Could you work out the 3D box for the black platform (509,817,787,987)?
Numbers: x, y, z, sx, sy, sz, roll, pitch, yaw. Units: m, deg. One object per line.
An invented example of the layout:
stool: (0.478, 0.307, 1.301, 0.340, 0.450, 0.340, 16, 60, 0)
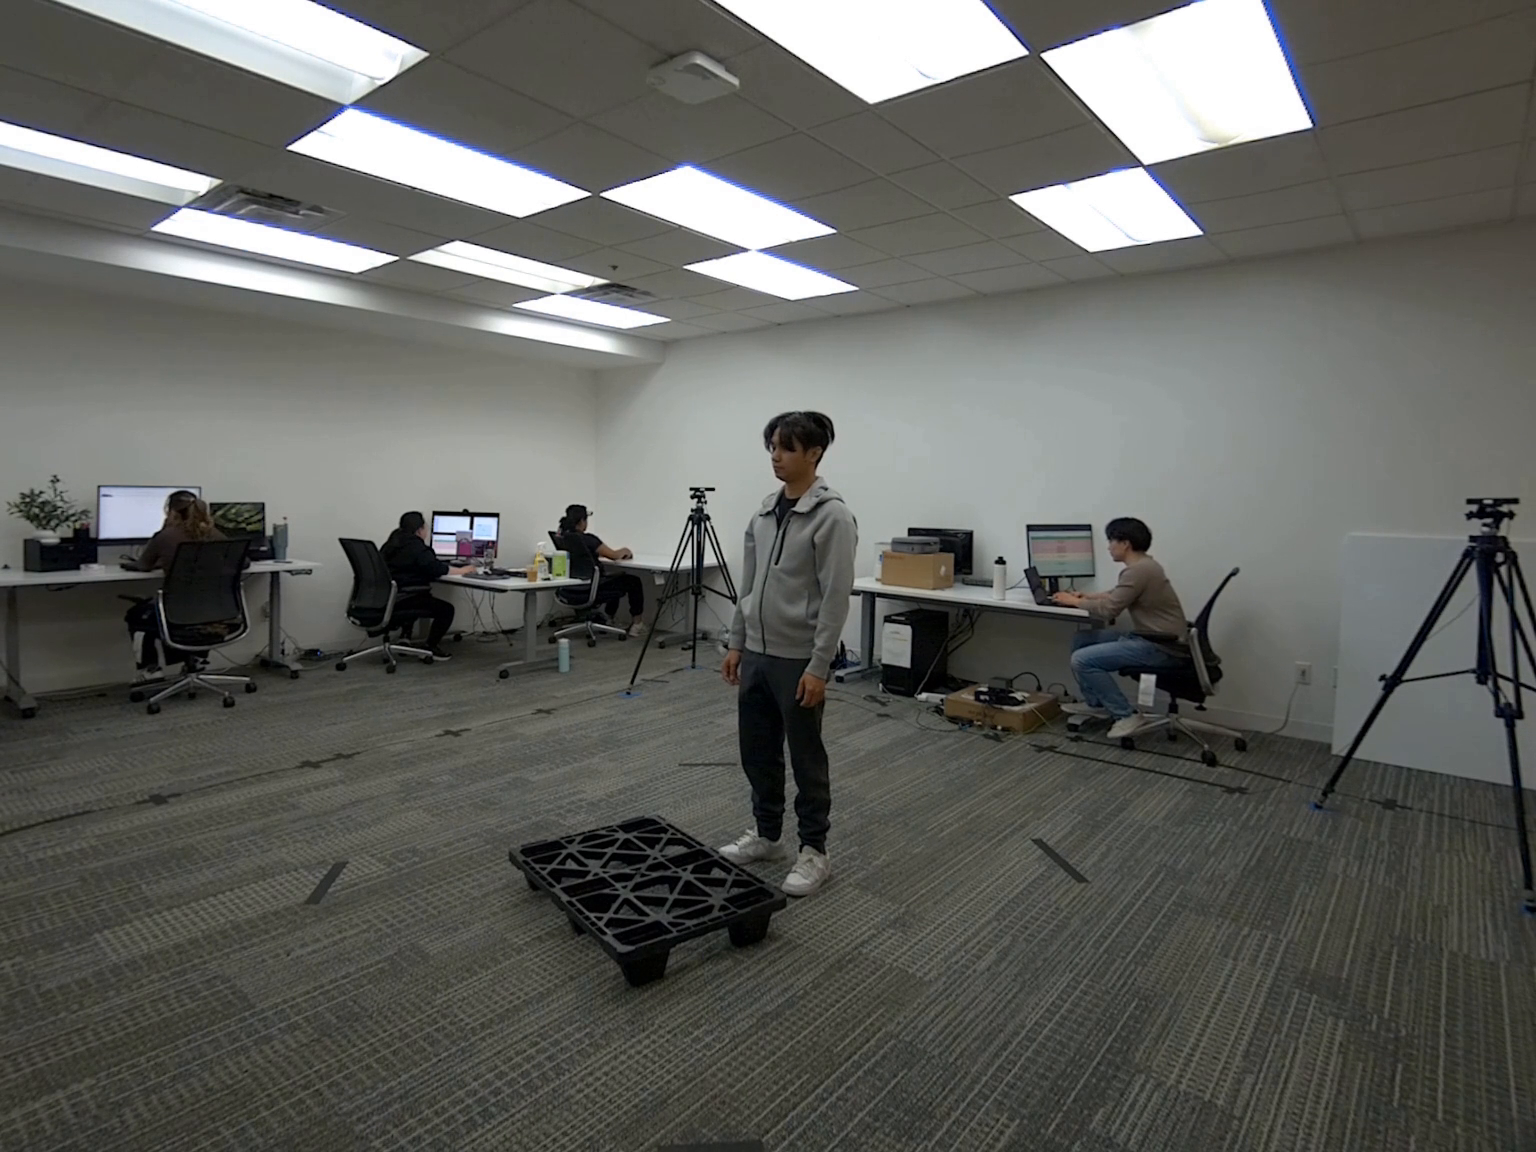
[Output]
black platform: (-0.428, 1.029, 2.789, 0.587, 0.143, 0.833, -3, 7, -37)
